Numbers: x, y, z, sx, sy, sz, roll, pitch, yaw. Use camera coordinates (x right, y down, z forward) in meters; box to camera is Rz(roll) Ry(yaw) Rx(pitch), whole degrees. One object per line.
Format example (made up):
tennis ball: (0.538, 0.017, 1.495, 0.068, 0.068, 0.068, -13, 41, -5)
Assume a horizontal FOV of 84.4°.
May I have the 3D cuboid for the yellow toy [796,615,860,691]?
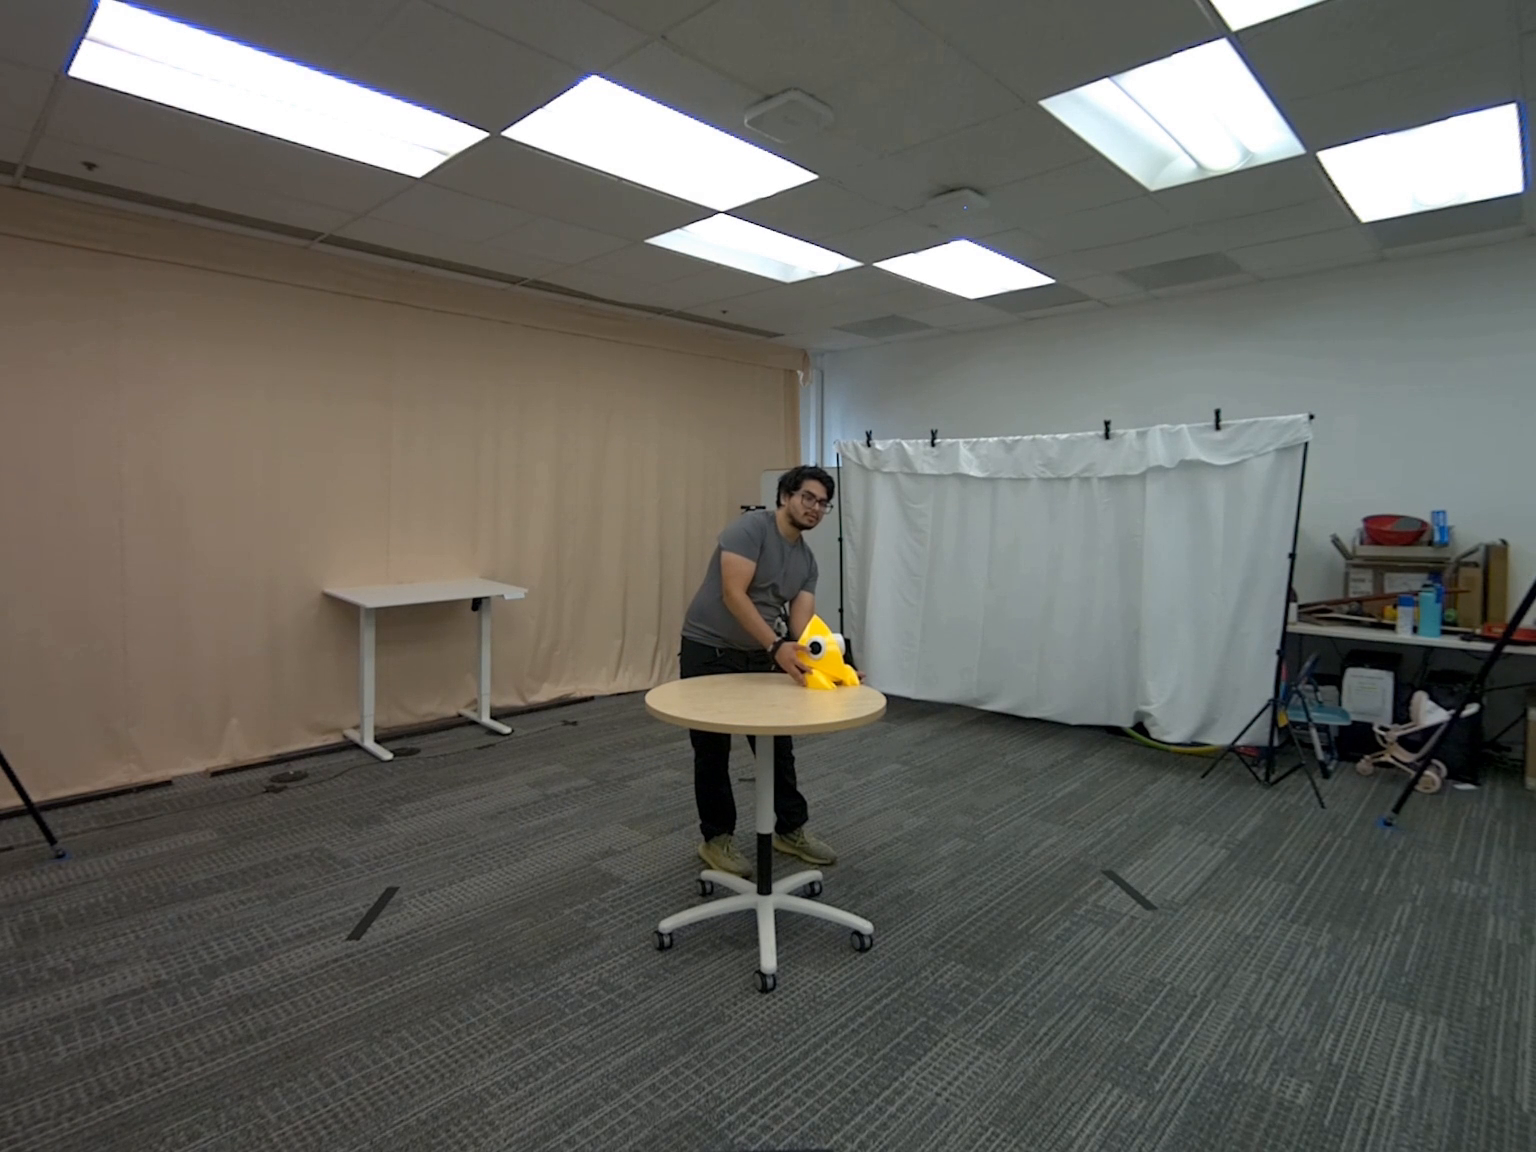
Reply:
yellow toy: (0.209, 0.256, 2.897, 0.199, 0.230, 0.199, -2, 4, -37)
